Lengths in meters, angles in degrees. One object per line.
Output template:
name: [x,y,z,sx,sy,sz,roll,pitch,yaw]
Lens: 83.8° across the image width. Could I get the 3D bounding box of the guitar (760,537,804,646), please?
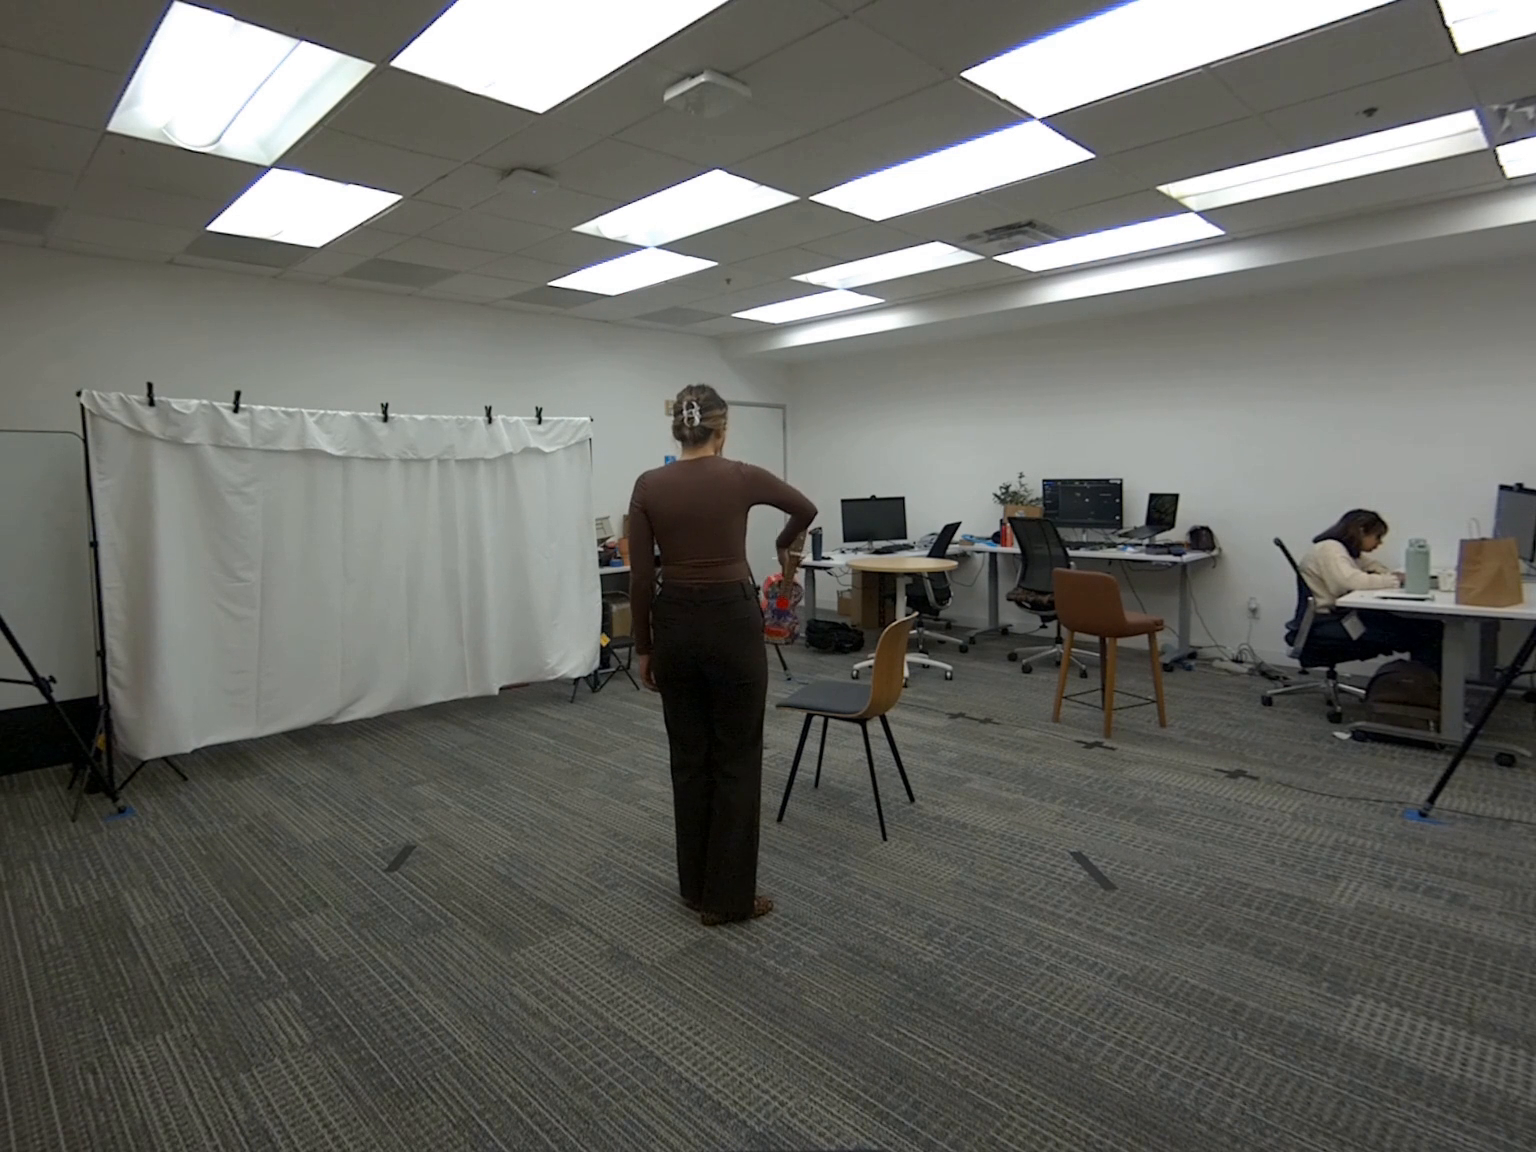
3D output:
guitar: [0.094,0.030,3.192,0.190,0.494,0.072,18,15,-11]
